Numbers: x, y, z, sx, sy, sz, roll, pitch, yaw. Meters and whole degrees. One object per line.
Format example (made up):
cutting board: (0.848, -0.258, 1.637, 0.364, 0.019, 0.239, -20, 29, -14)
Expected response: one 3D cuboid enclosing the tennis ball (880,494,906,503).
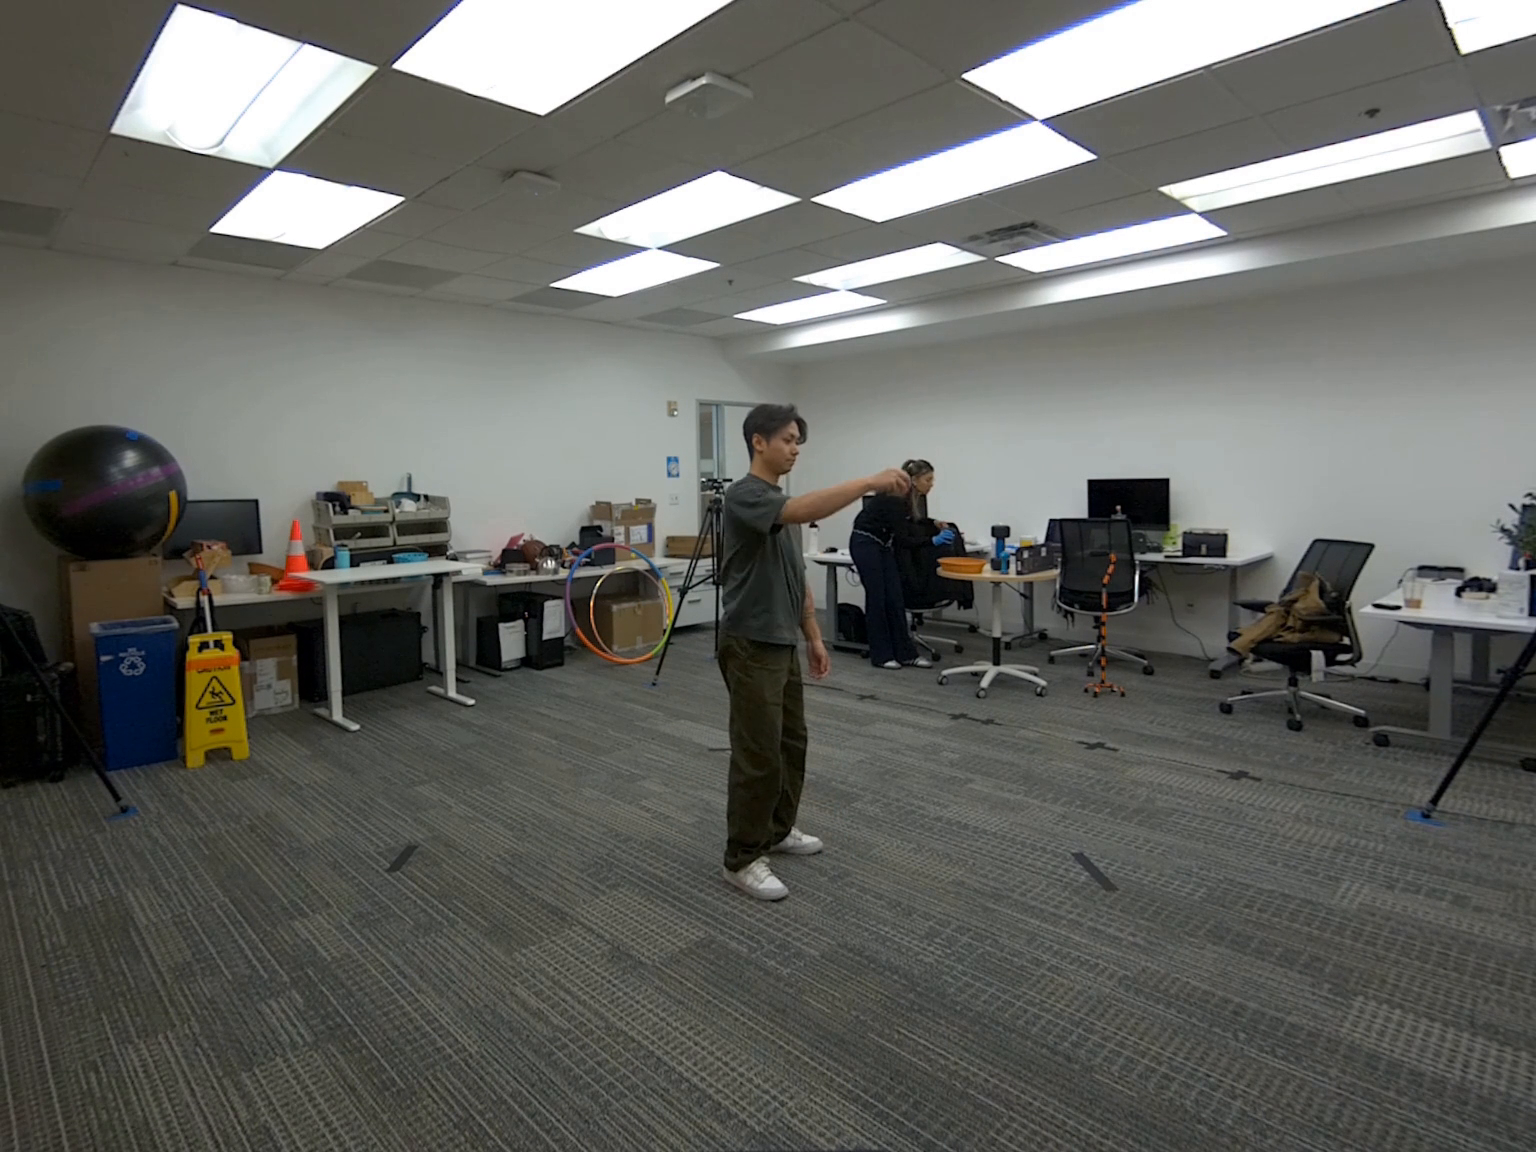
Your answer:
tennis ball: (0.399, -0.272, 2.743, 0.066, 0.066, 0.067, -1, 5, -2)
